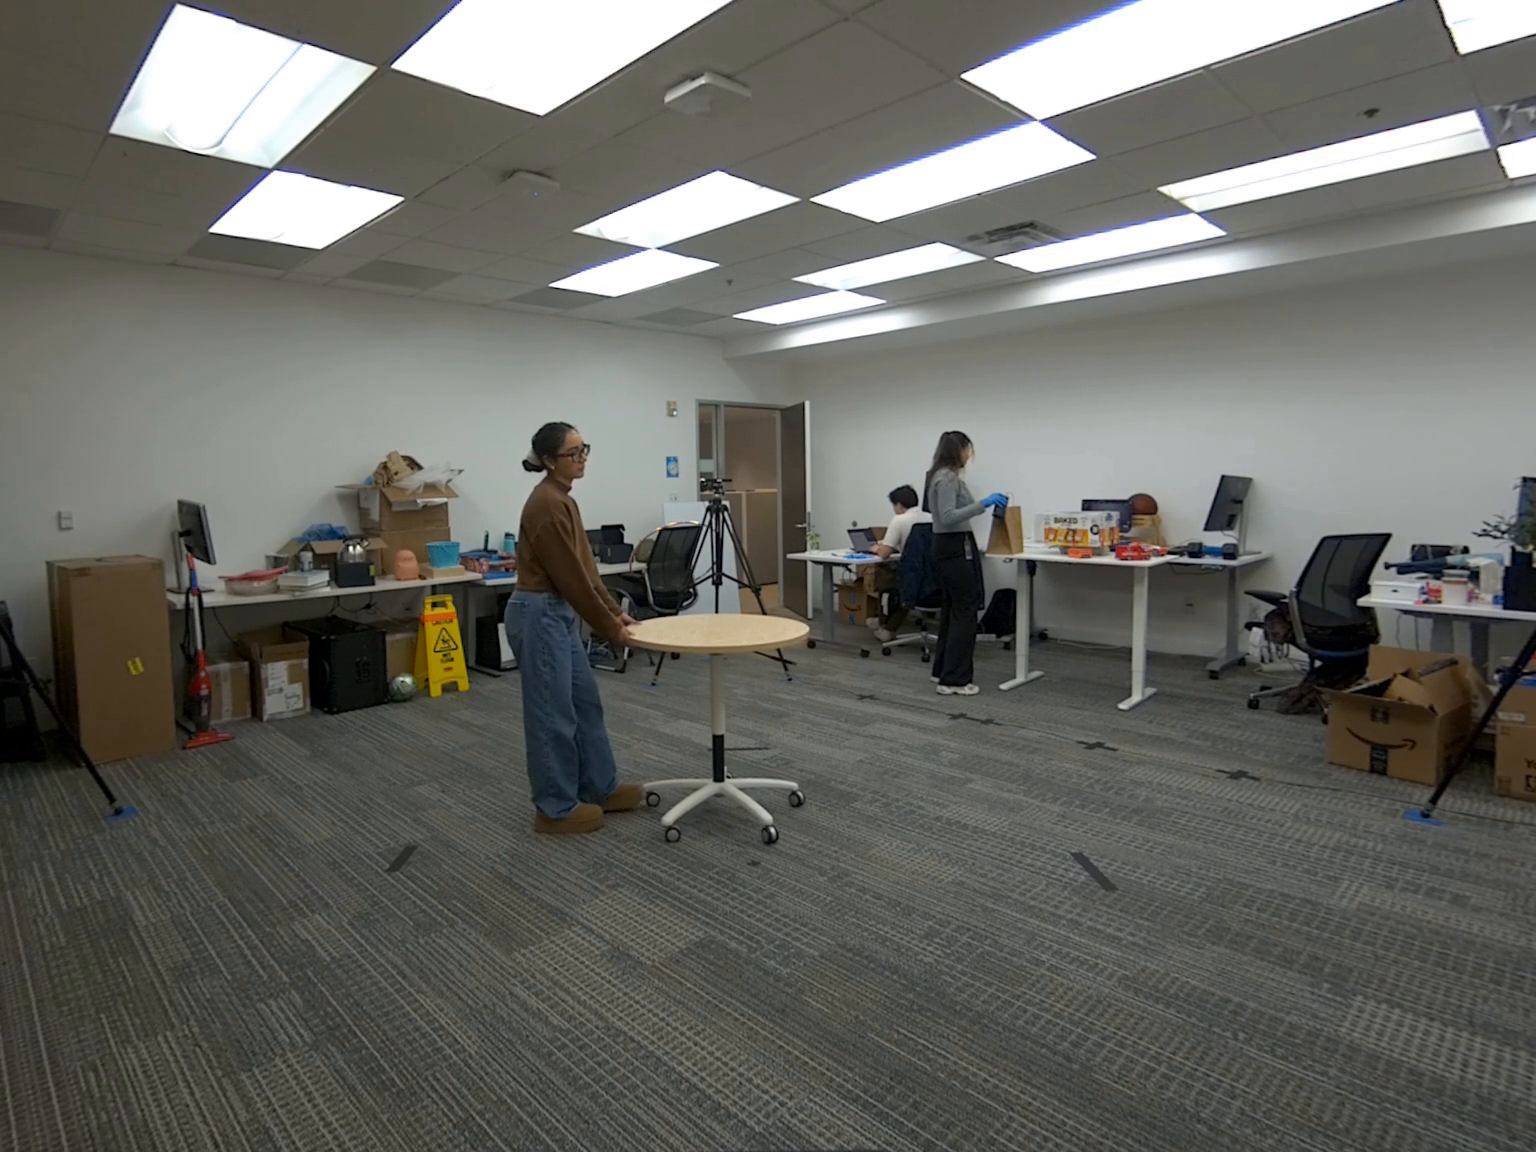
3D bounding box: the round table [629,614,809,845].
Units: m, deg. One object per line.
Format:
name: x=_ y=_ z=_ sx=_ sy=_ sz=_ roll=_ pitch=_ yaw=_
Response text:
round table: x=-0.207 y=0.607 z=3.542 sx=0.763 sy=0.791 sz=0.768 roll=-1 pitch=4 yaw=-2
